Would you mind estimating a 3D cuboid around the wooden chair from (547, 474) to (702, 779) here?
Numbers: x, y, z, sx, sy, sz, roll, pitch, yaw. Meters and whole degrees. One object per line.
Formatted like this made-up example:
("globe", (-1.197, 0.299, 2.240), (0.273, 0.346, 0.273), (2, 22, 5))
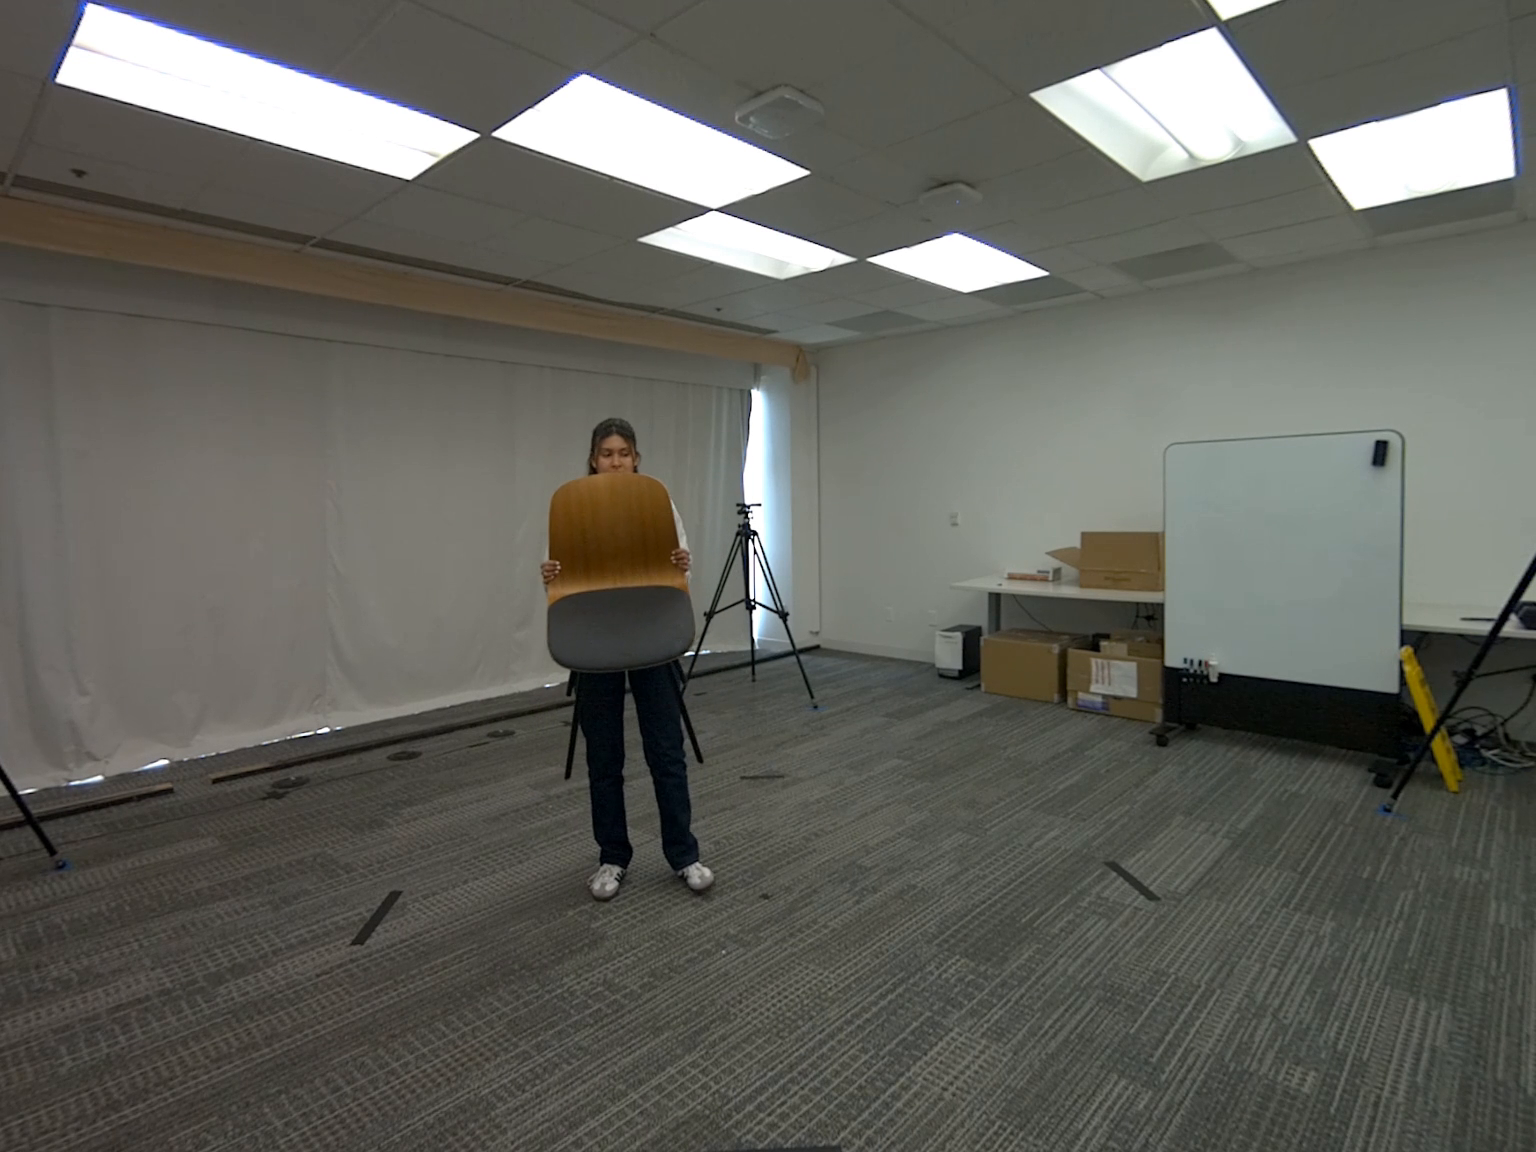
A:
("wooden chair", (-0.477, 0.165, 2.732), (0.474, 0.865, 0.534), (-4, 24, -8))
